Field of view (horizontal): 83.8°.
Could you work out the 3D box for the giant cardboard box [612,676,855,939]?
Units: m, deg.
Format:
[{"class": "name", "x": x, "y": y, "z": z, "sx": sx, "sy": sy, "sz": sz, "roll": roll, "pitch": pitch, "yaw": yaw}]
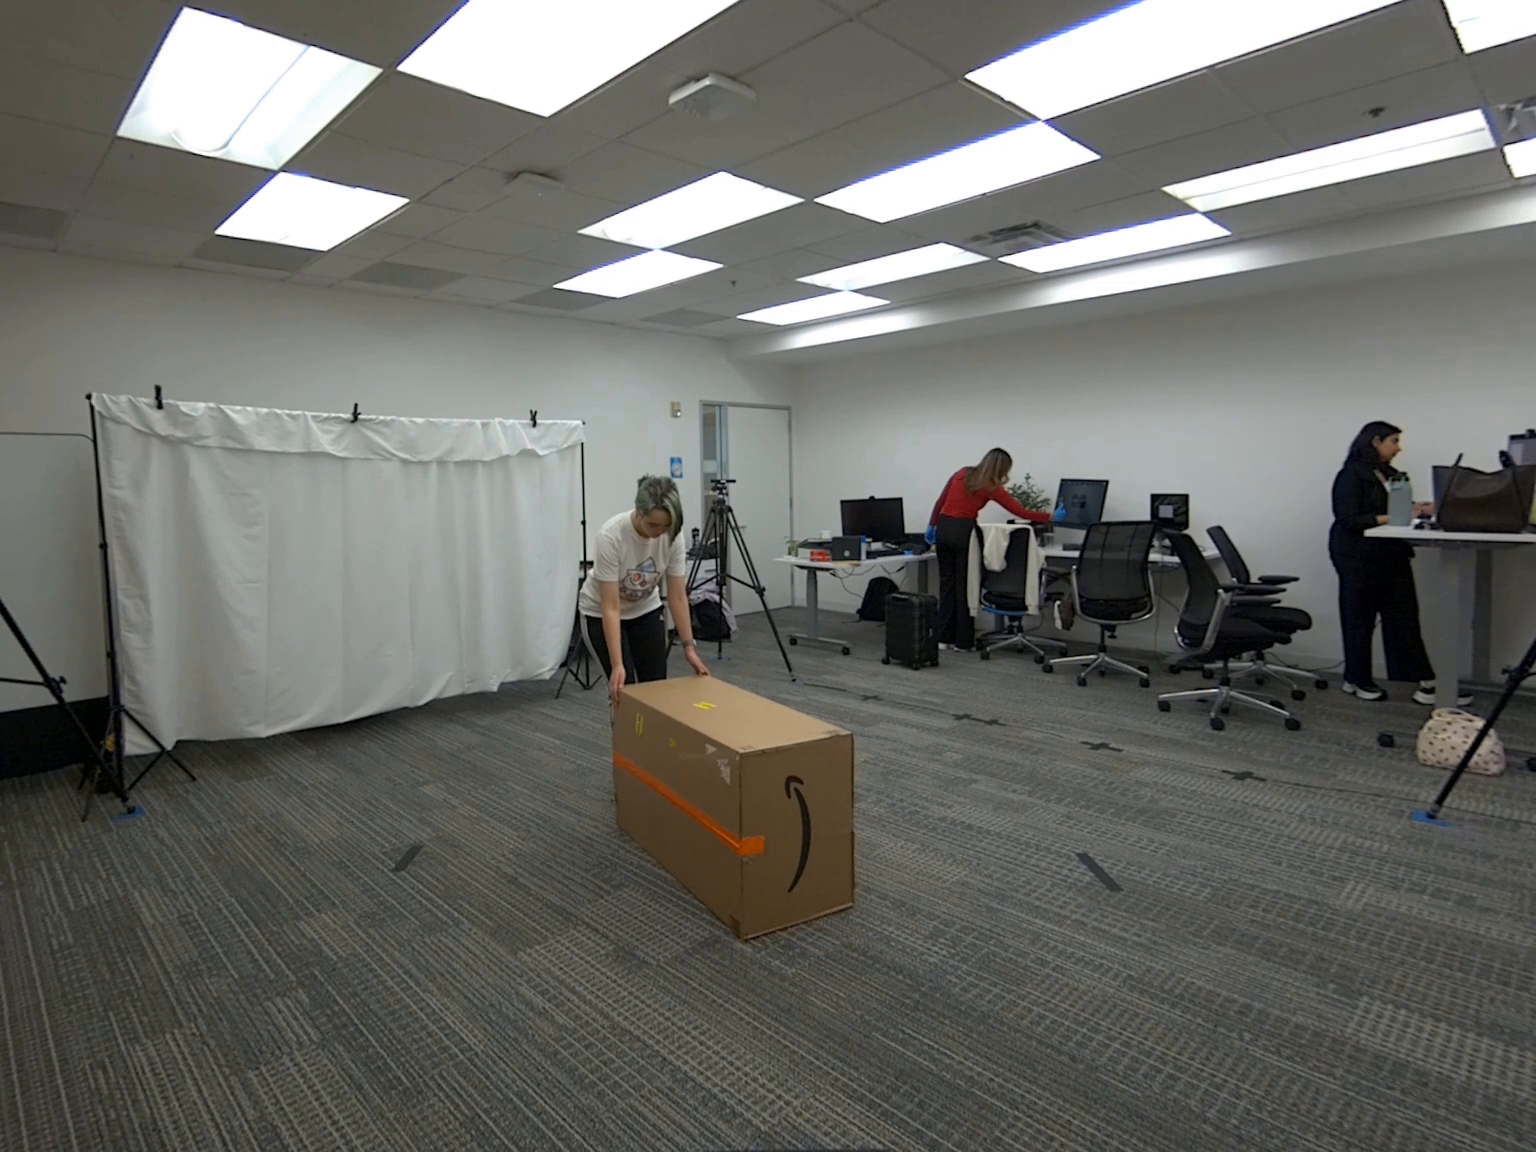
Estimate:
[{"class": "giant cardboard box", "x": -0.170, "y": 0.762, "z": 3.111, "sx": 0.436, "sy": 0.582, "sz": 1.055, "roll": -4, "pitch": 6, "yaw": -31}]
